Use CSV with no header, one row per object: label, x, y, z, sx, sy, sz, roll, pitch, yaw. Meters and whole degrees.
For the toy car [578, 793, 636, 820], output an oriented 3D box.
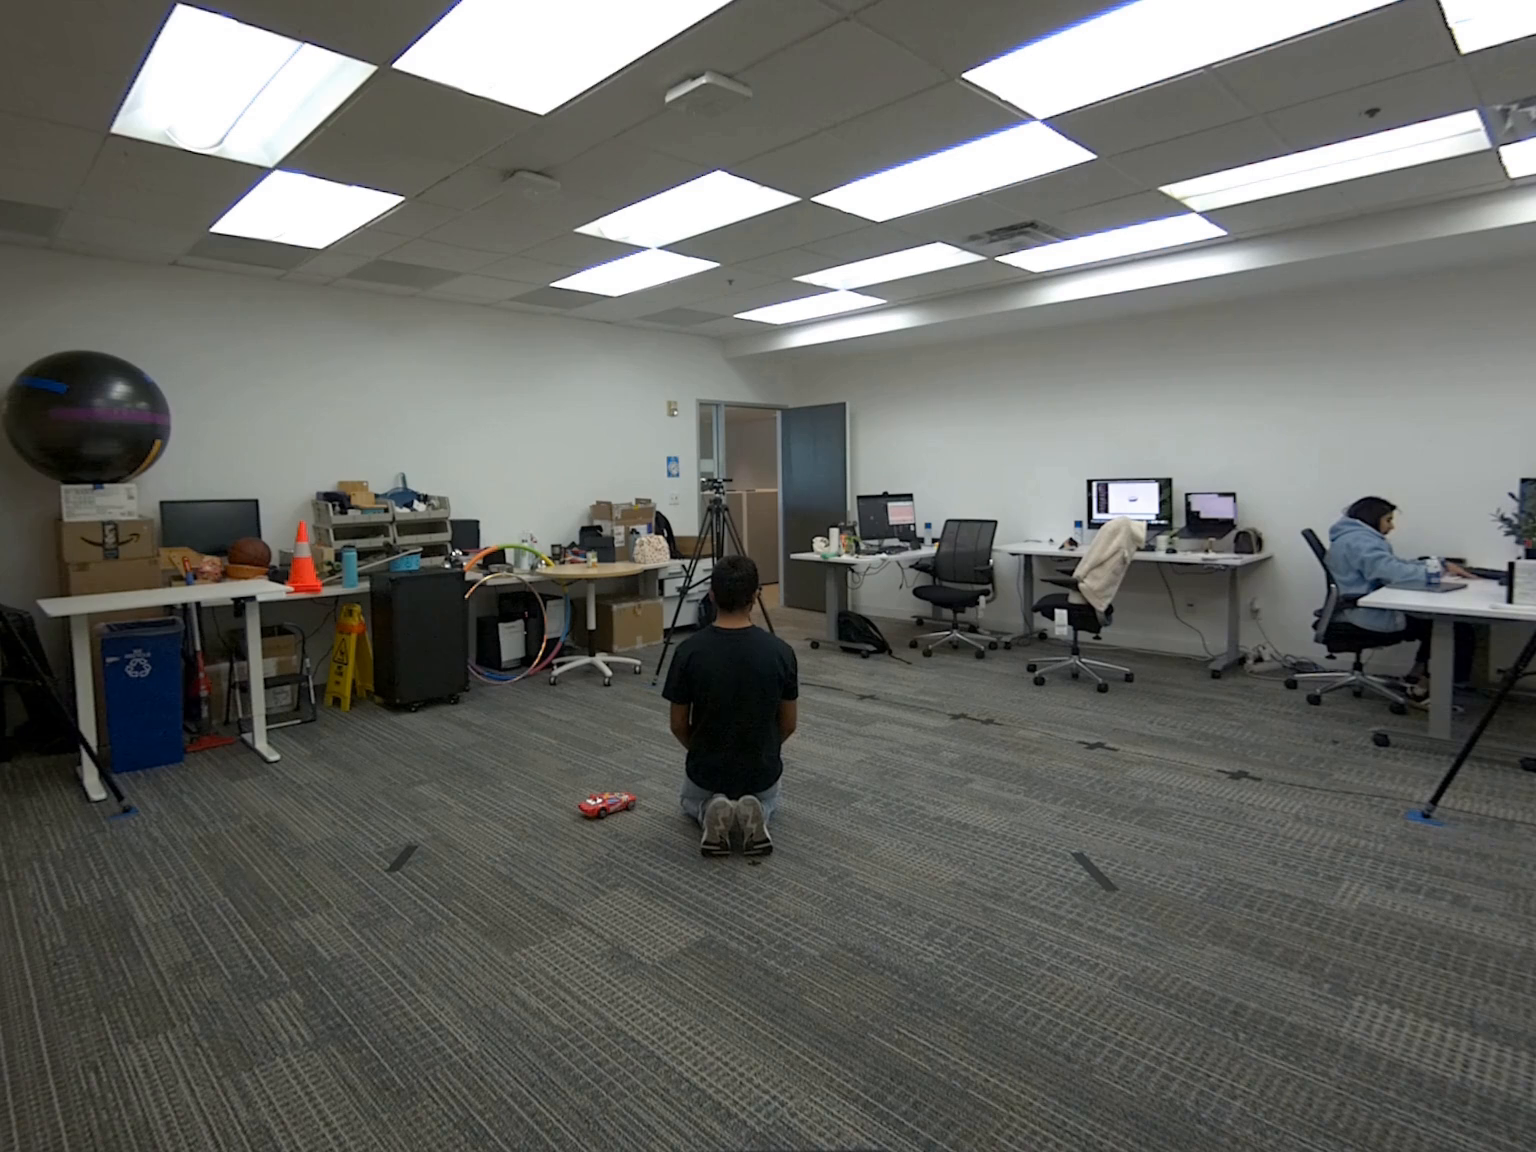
toy car,-0.687,0.962,3.615,0.246,0.083,0.134,8,-2,-41
